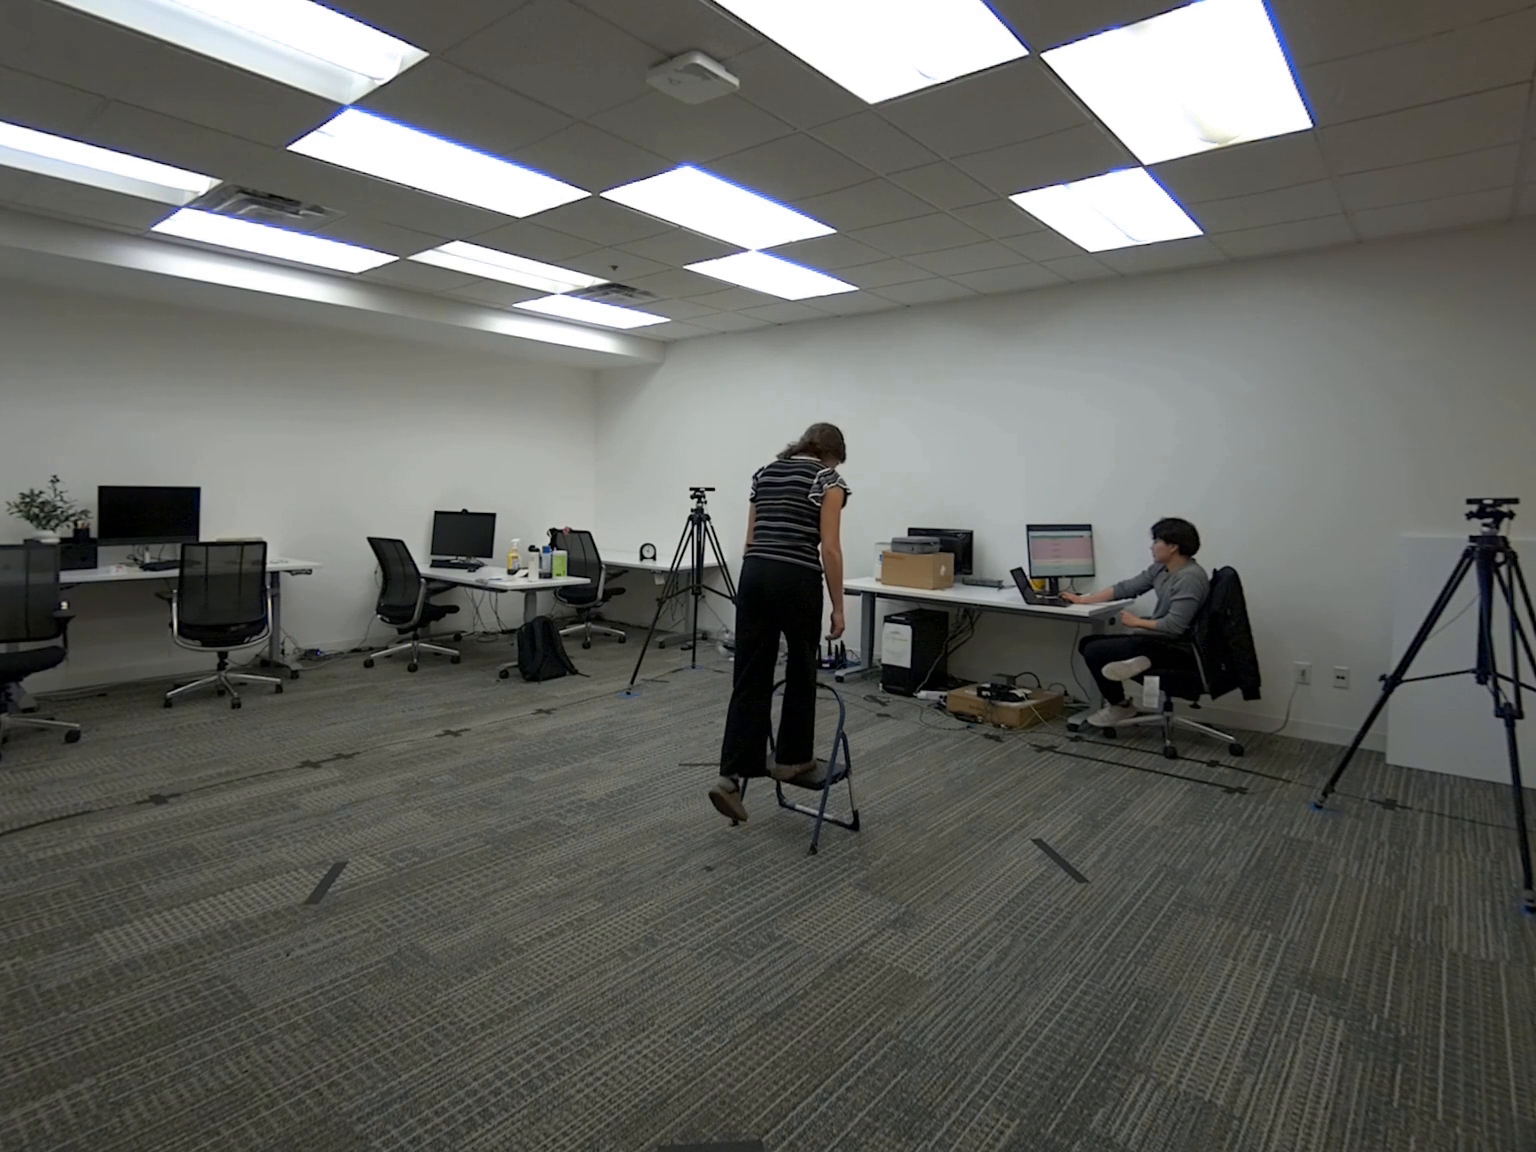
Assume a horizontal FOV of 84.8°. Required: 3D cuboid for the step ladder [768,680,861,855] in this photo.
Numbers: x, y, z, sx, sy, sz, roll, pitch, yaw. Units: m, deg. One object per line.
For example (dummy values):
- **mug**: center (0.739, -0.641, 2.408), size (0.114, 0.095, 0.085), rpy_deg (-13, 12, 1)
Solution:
- **step ladder**: center (0.113, 0.733, 3.495), size (0.445, 0.604, 0.339), rpy_deg (4, 5, 39)
